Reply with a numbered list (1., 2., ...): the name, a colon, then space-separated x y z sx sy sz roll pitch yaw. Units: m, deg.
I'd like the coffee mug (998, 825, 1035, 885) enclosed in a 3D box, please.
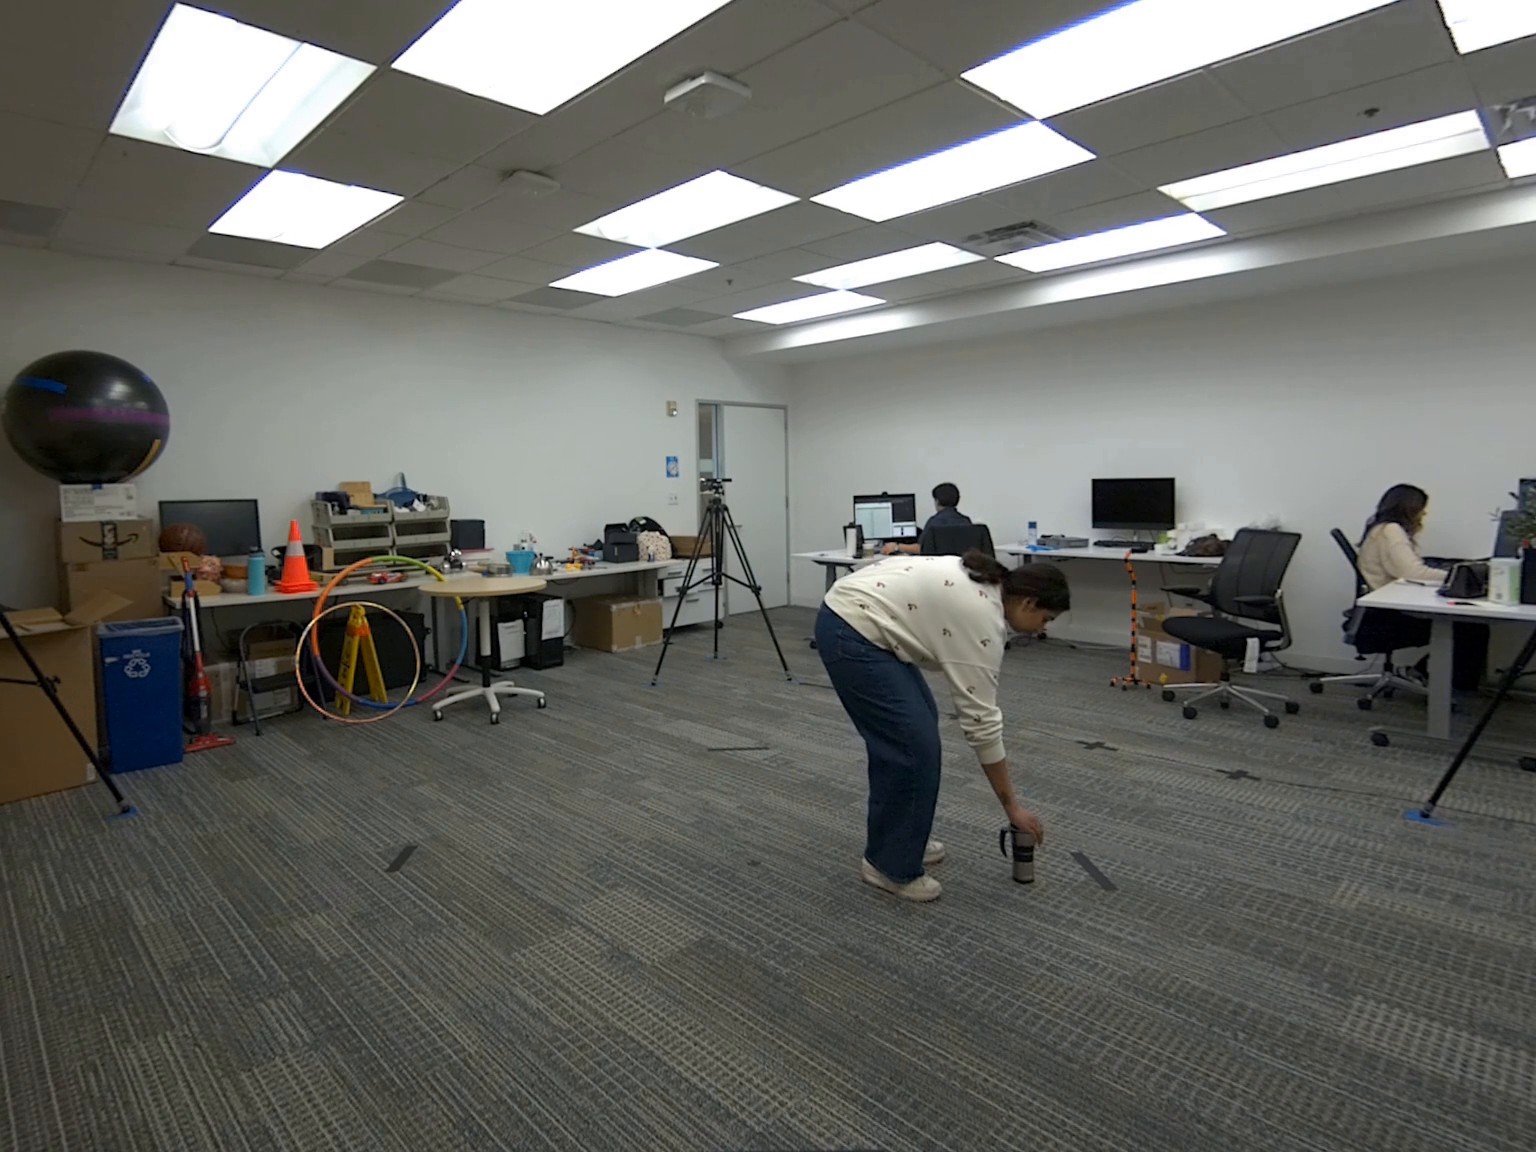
1. coffee mug: 0.865 0.939 2.944 0.126 0.201 0.086 7 13 41
